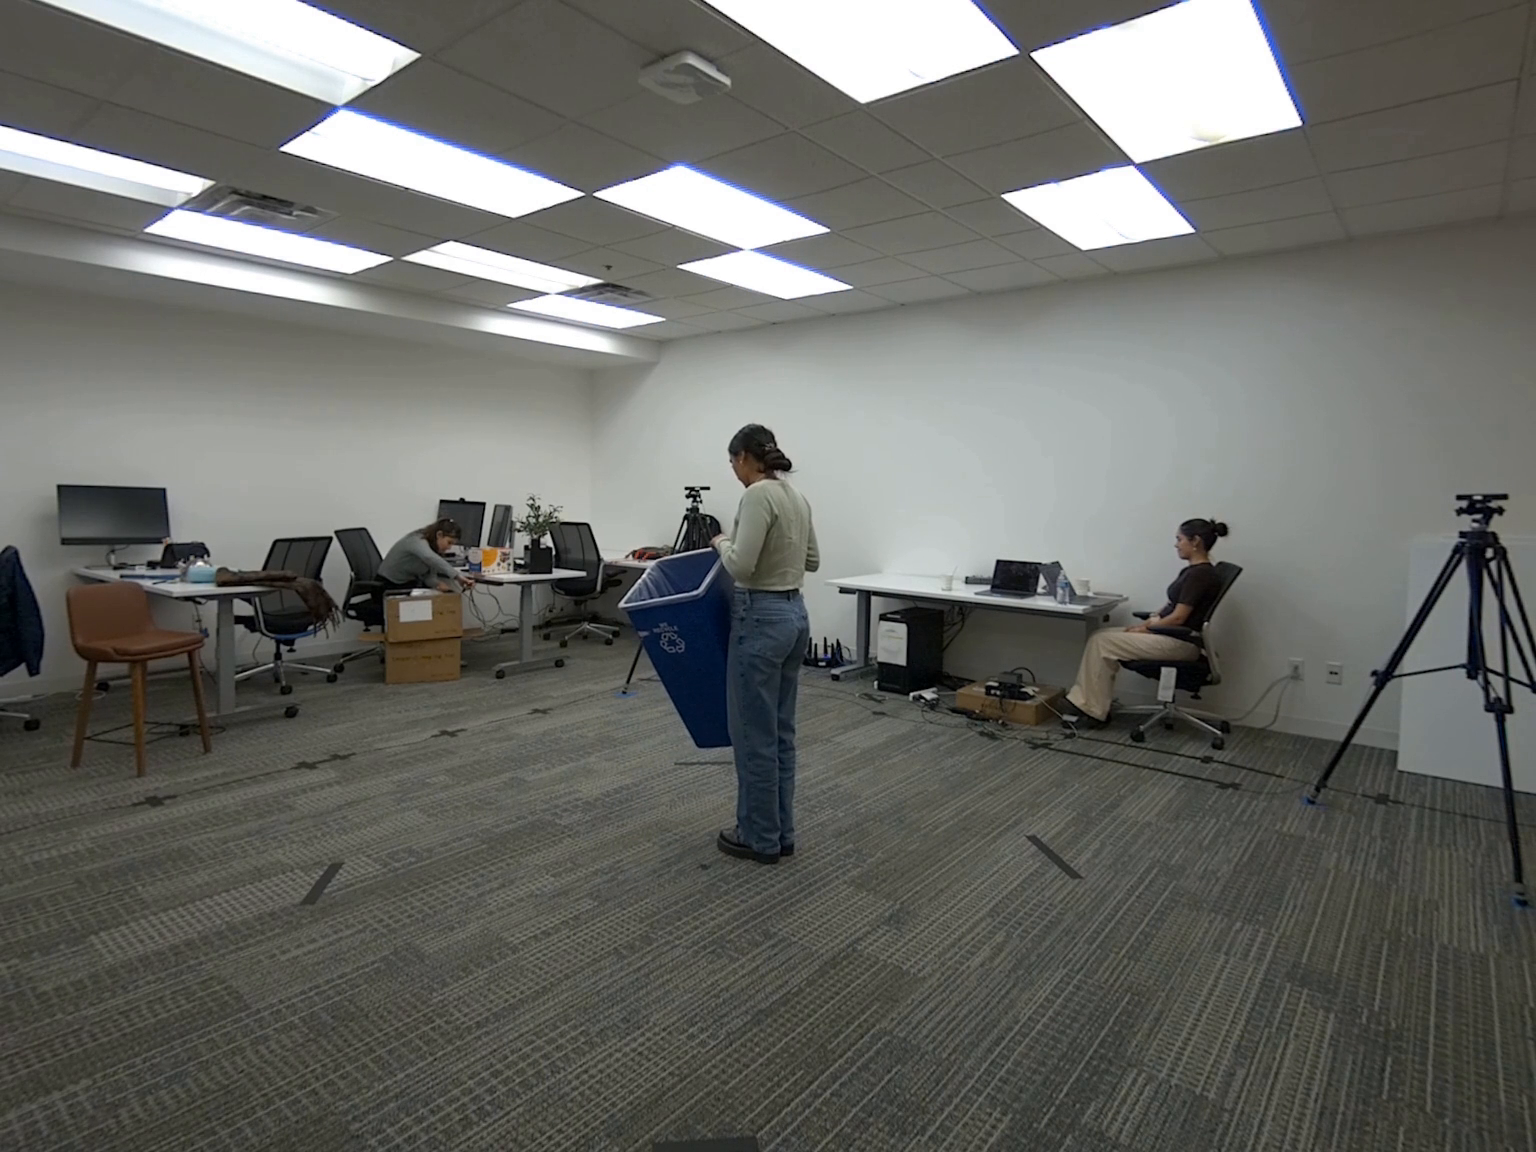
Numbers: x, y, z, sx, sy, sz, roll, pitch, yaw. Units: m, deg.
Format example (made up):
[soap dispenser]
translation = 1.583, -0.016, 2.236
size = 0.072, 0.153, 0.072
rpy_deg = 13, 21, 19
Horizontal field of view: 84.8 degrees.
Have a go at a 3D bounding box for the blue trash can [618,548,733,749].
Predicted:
[blue trash can]
translation = -0.247, 0.295, 3.381
size = 0.382, 0.695, 0.380
rpy_deg = -11, 24, 27
